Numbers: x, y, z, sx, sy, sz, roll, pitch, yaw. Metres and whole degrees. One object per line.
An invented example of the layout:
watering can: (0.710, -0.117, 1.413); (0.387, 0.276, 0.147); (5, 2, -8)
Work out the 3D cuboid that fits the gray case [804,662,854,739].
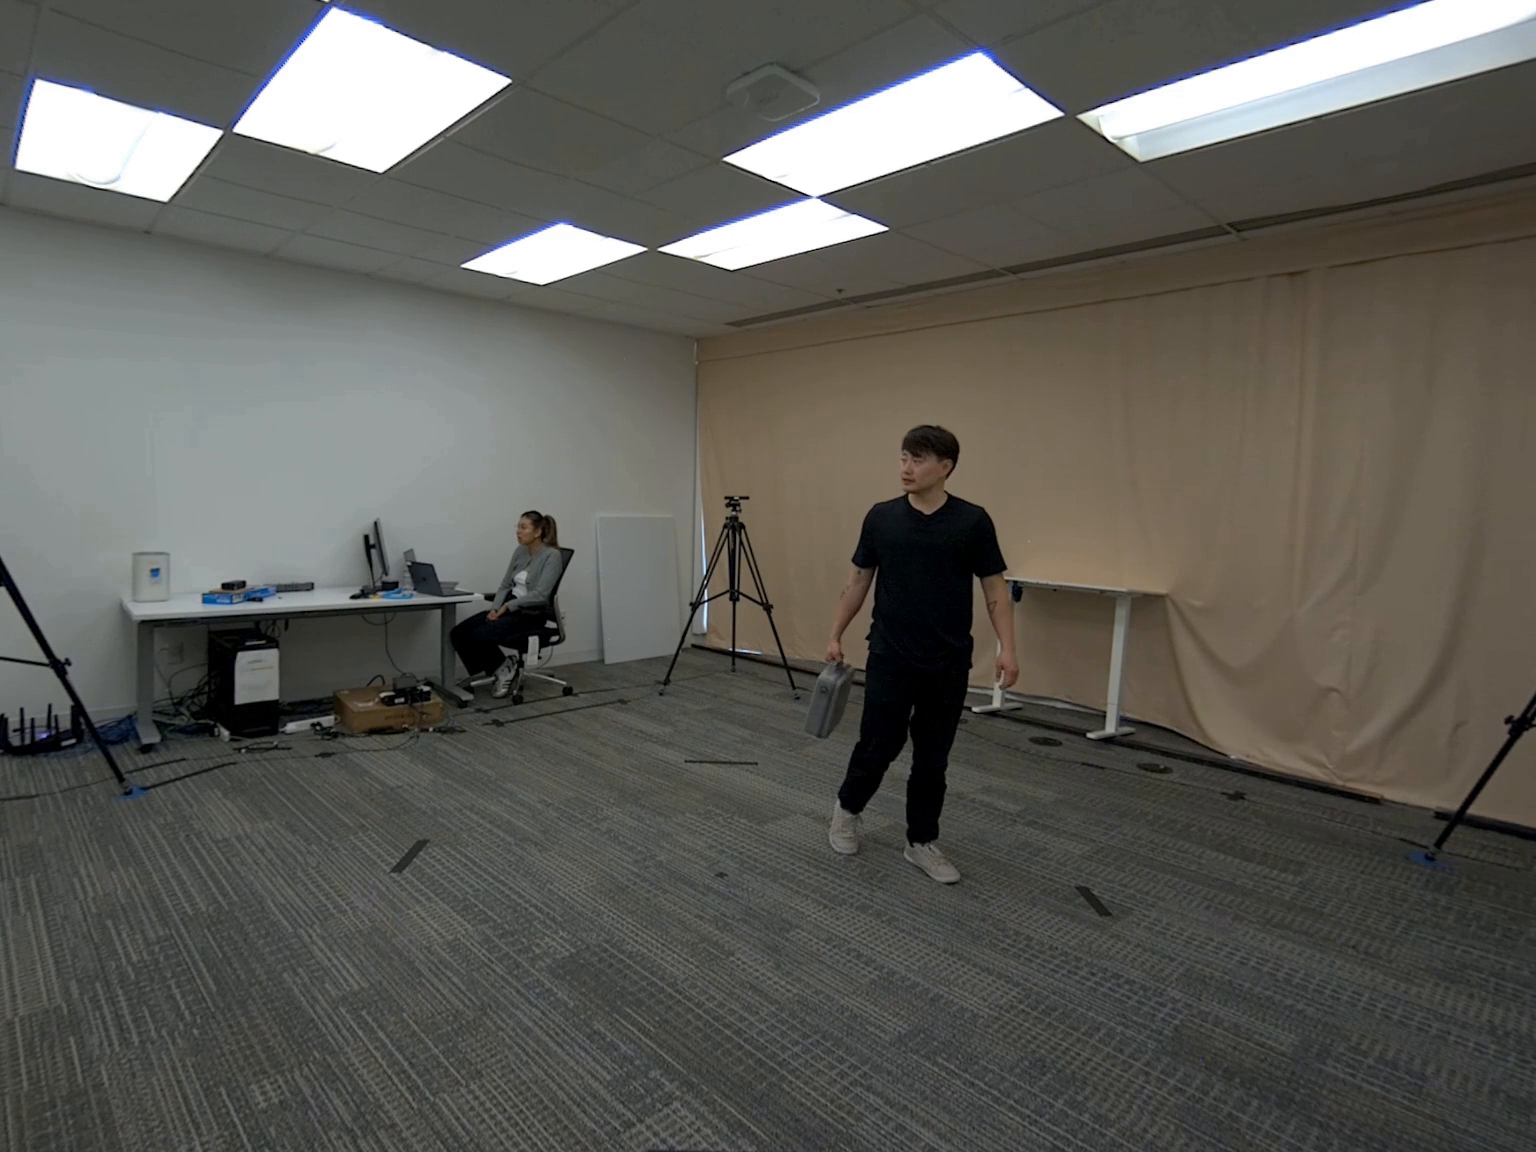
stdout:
gray case: (0.245, 0.476, 3.316); (0.106, 0.259, 0.254); (14, 12, 16)
